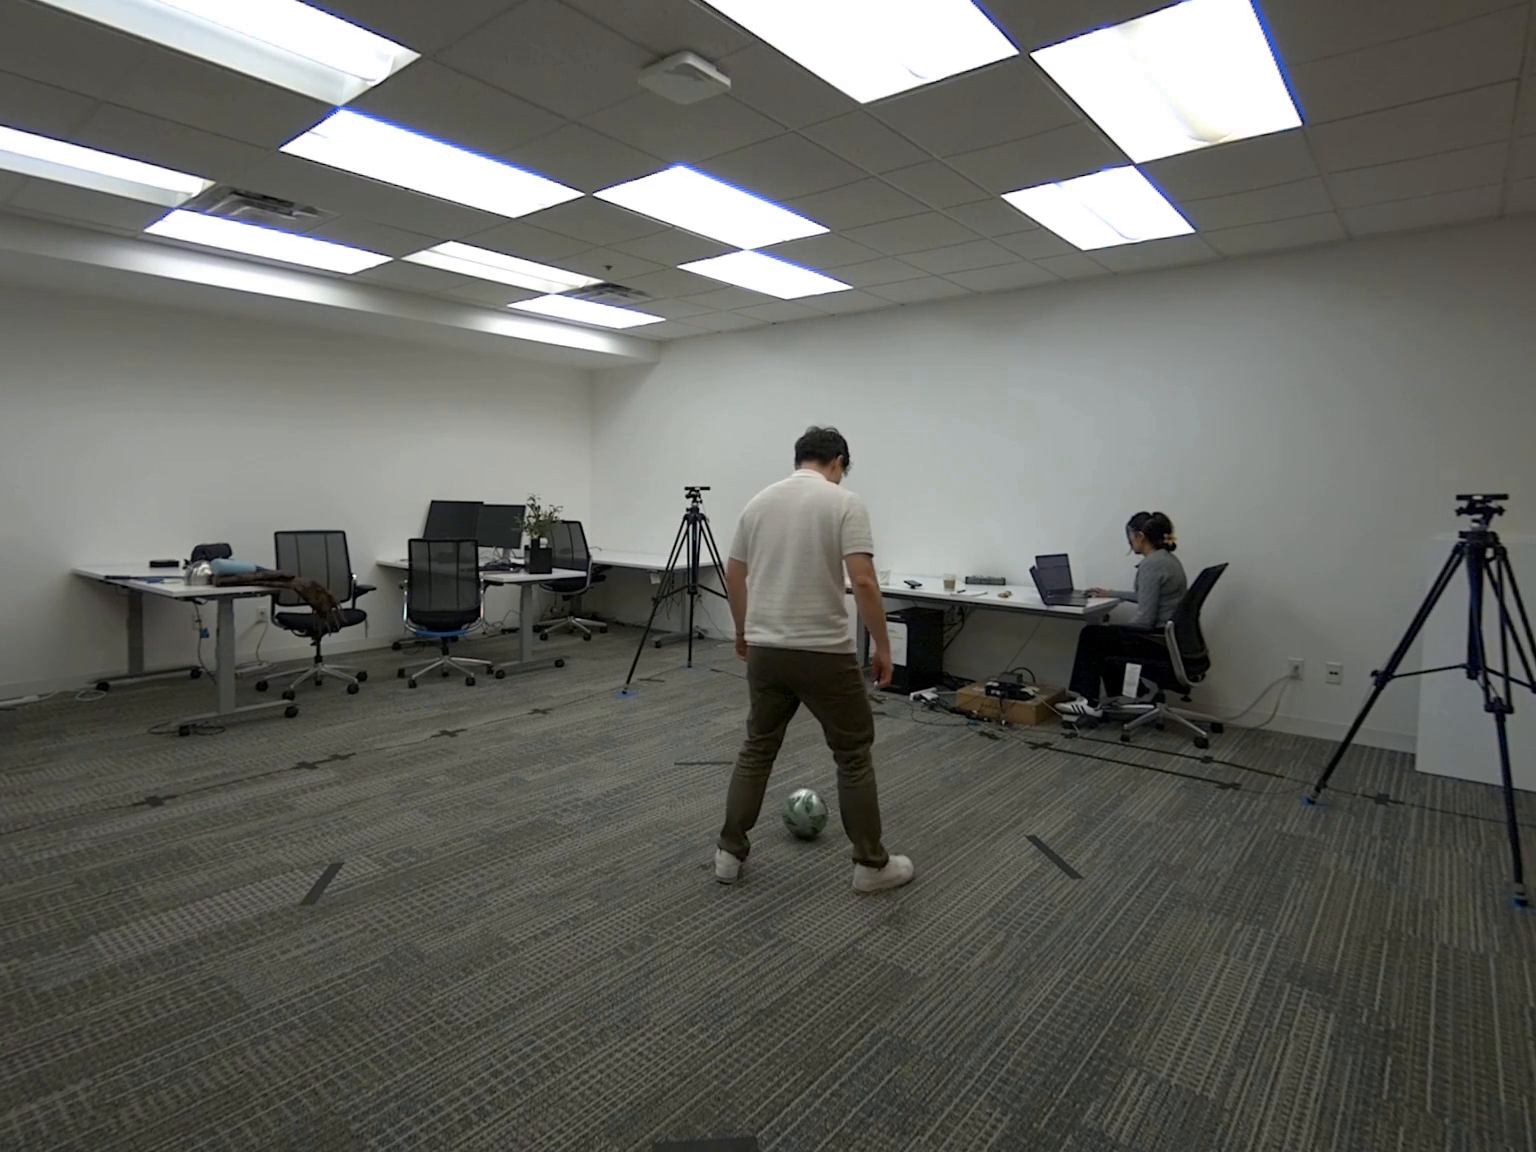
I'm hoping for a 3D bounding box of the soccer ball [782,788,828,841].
[{"bbox_3d":[0.142,0.944,3.404,0.187,0.187,0.188,0,4,-2],"label":"soccer ball"}]
